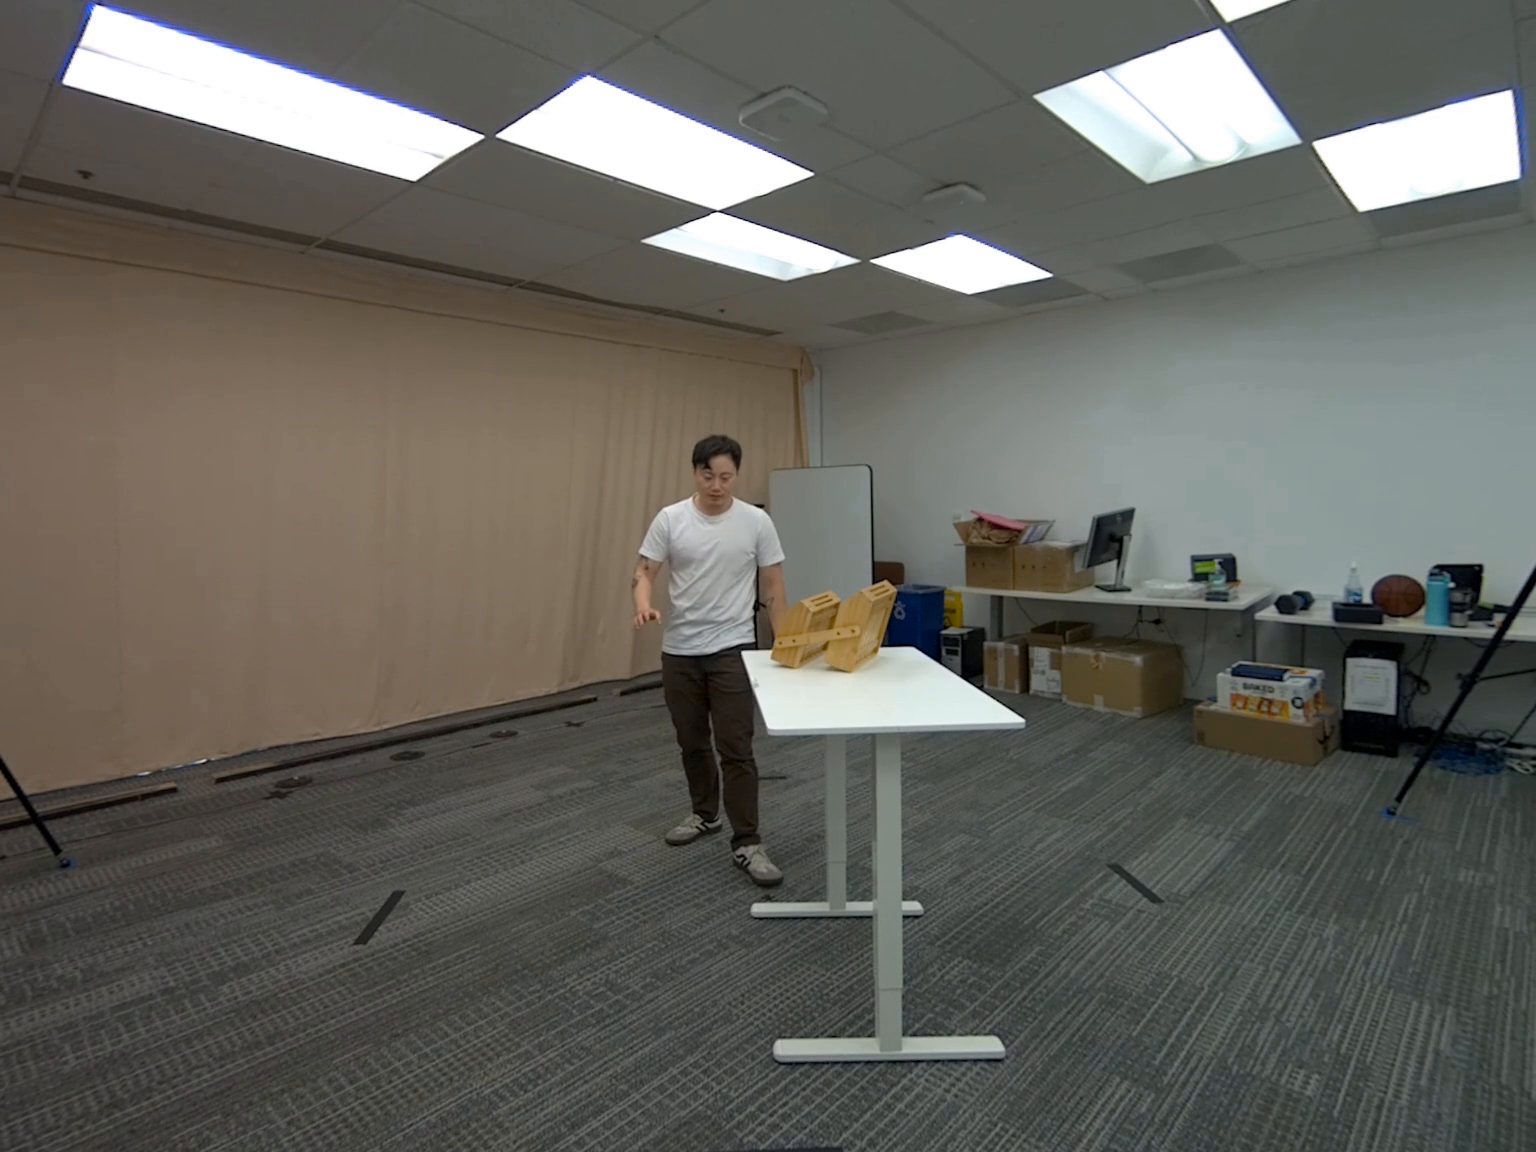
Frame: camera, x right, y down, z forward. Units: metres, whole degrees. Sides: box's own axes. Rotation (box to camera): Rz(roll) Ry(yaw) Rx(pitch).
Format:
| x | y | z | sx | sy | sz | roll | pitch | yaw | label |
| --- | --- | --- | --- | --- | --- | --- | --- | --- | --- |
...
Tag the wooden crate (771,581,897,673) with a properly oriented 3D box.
| x | y | z | sx | sy | sz | roll | pitch | yaw | label |
| --- | --- | --- | --- | --- | --- | --- | --- | --- | --- |
| 0.219 | 0.144 | 2.689 | 0.280 | 0.301 | 0.317 | 19 | 11 | 21 | wooden crate |
